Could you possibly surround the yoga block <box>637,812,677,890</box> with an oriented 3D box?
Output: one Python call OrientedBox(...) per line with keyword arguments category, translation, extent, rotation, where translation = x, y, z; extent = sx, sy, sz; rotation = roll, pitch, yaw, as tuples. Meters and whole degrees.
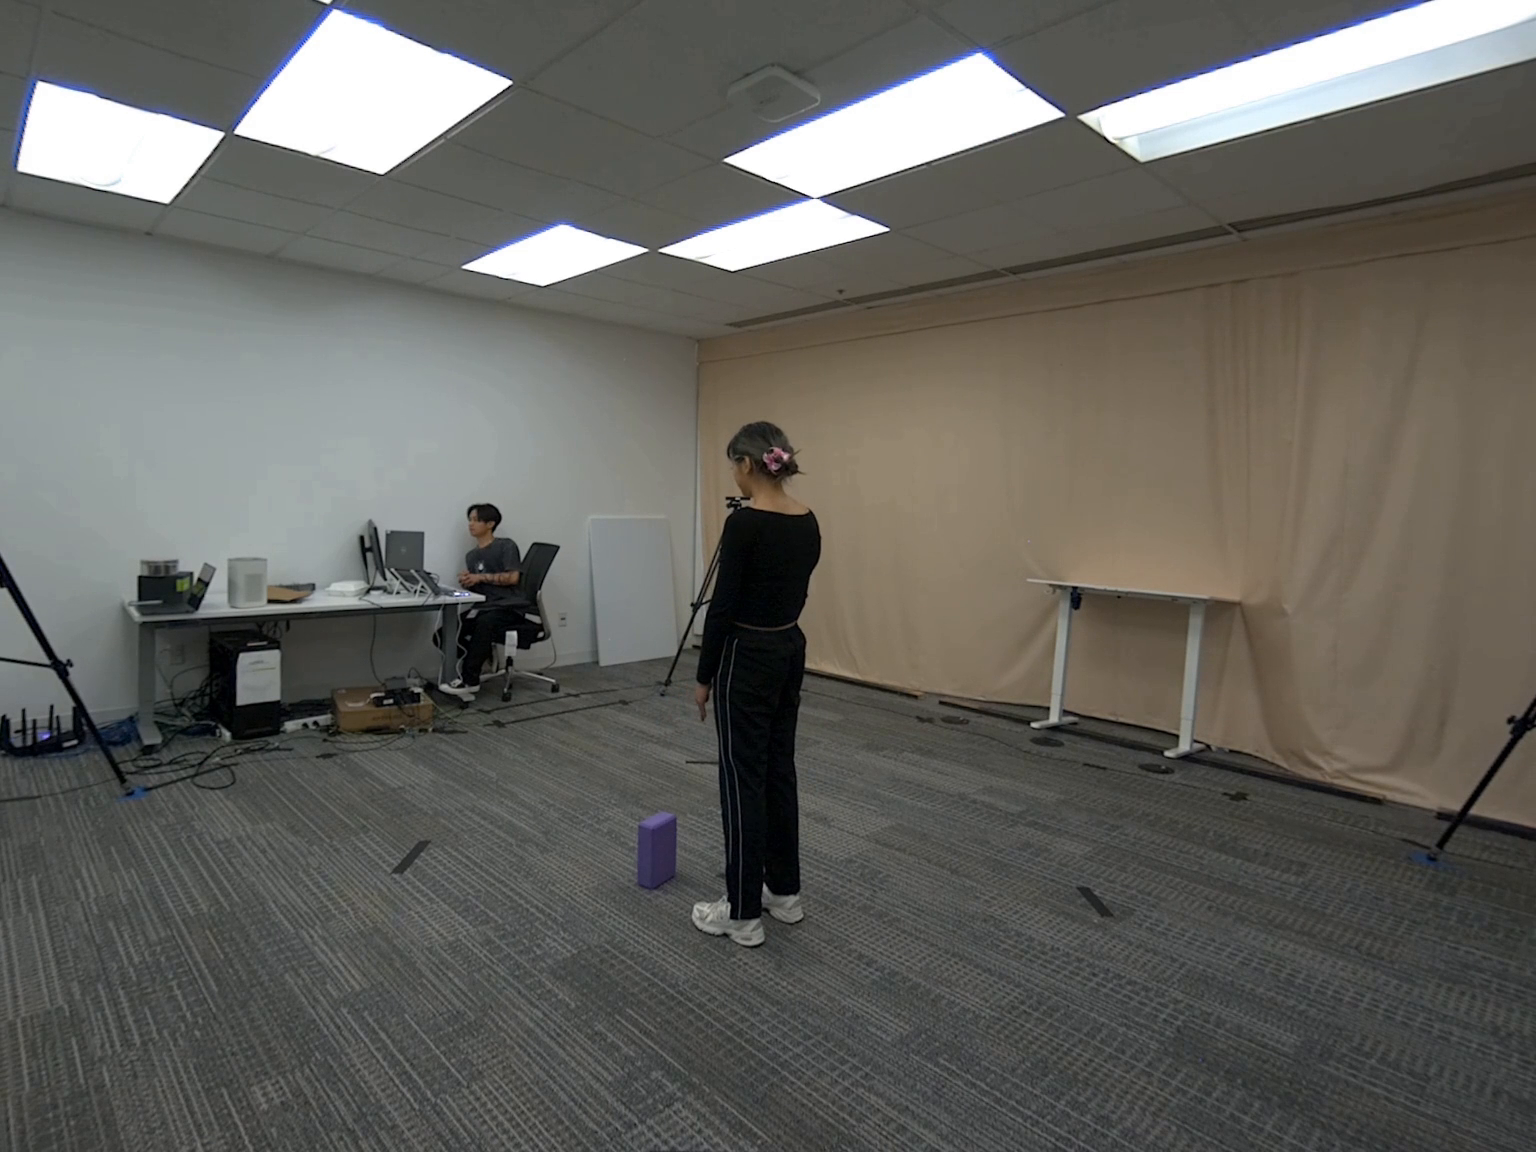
OrientedBox(category="yoga block", translation=(-0.409, 0.992, 3.043), extent=(0.078, 0.229, 0.146), rotation=(3, 4, 30))
